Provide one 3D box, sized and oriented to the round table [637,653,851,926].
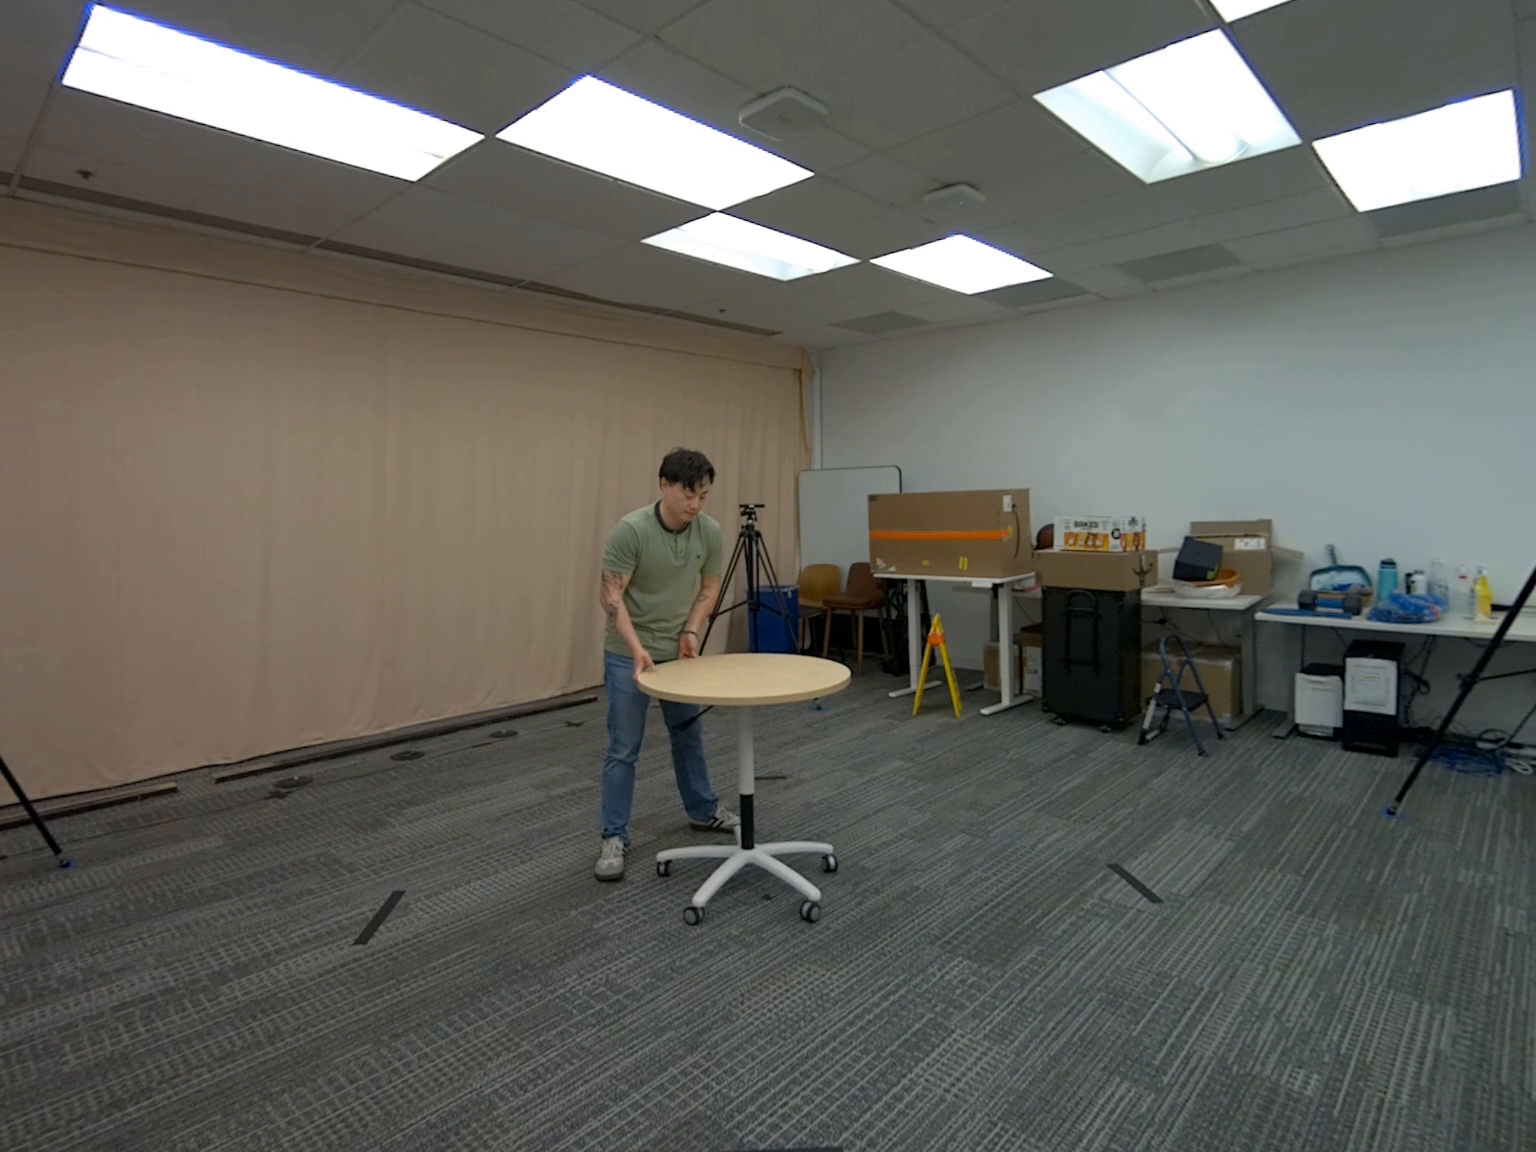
[{"bbox_3d":[-0.077,0.744,3.058,0.763,0.792,0.766,-2,4,-2],"label":"round table"}]
